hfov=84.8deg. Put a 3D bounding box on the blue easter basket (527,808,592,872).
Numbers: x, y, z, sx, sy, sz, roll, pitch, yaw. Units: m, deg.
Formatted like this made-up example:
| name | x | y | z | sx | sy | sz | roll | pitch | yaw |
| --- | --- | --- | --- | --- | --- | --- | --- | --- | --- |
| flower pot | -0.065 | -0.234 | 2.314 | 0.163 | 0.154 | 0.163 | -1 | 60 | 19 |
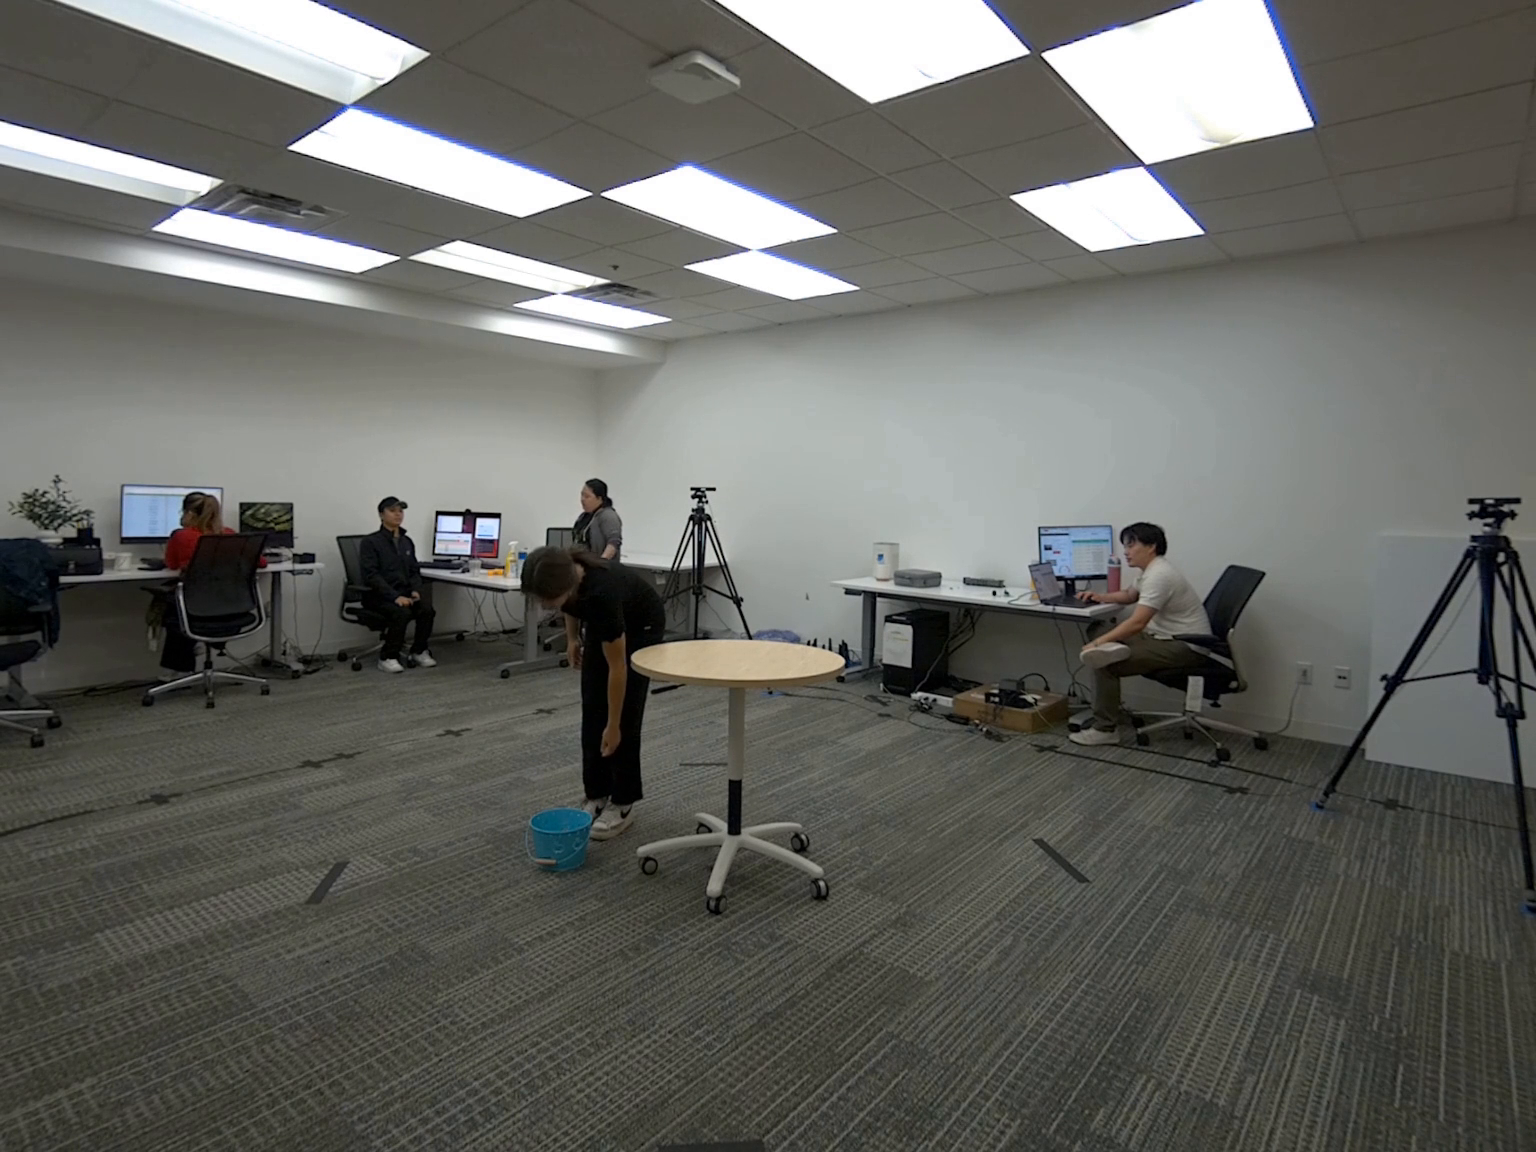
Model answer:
| name | x | y | z | sx | sy | sz | roll | pitch | yaw |
| --- | --- | --- | --- | --- | --- | --- | --- | --- | --- |
| blue easter basket | -0.783 | 0.971 | 3.156 | 0.243 | 0.155 | 0.245 | 2 | 5 | -2 |
